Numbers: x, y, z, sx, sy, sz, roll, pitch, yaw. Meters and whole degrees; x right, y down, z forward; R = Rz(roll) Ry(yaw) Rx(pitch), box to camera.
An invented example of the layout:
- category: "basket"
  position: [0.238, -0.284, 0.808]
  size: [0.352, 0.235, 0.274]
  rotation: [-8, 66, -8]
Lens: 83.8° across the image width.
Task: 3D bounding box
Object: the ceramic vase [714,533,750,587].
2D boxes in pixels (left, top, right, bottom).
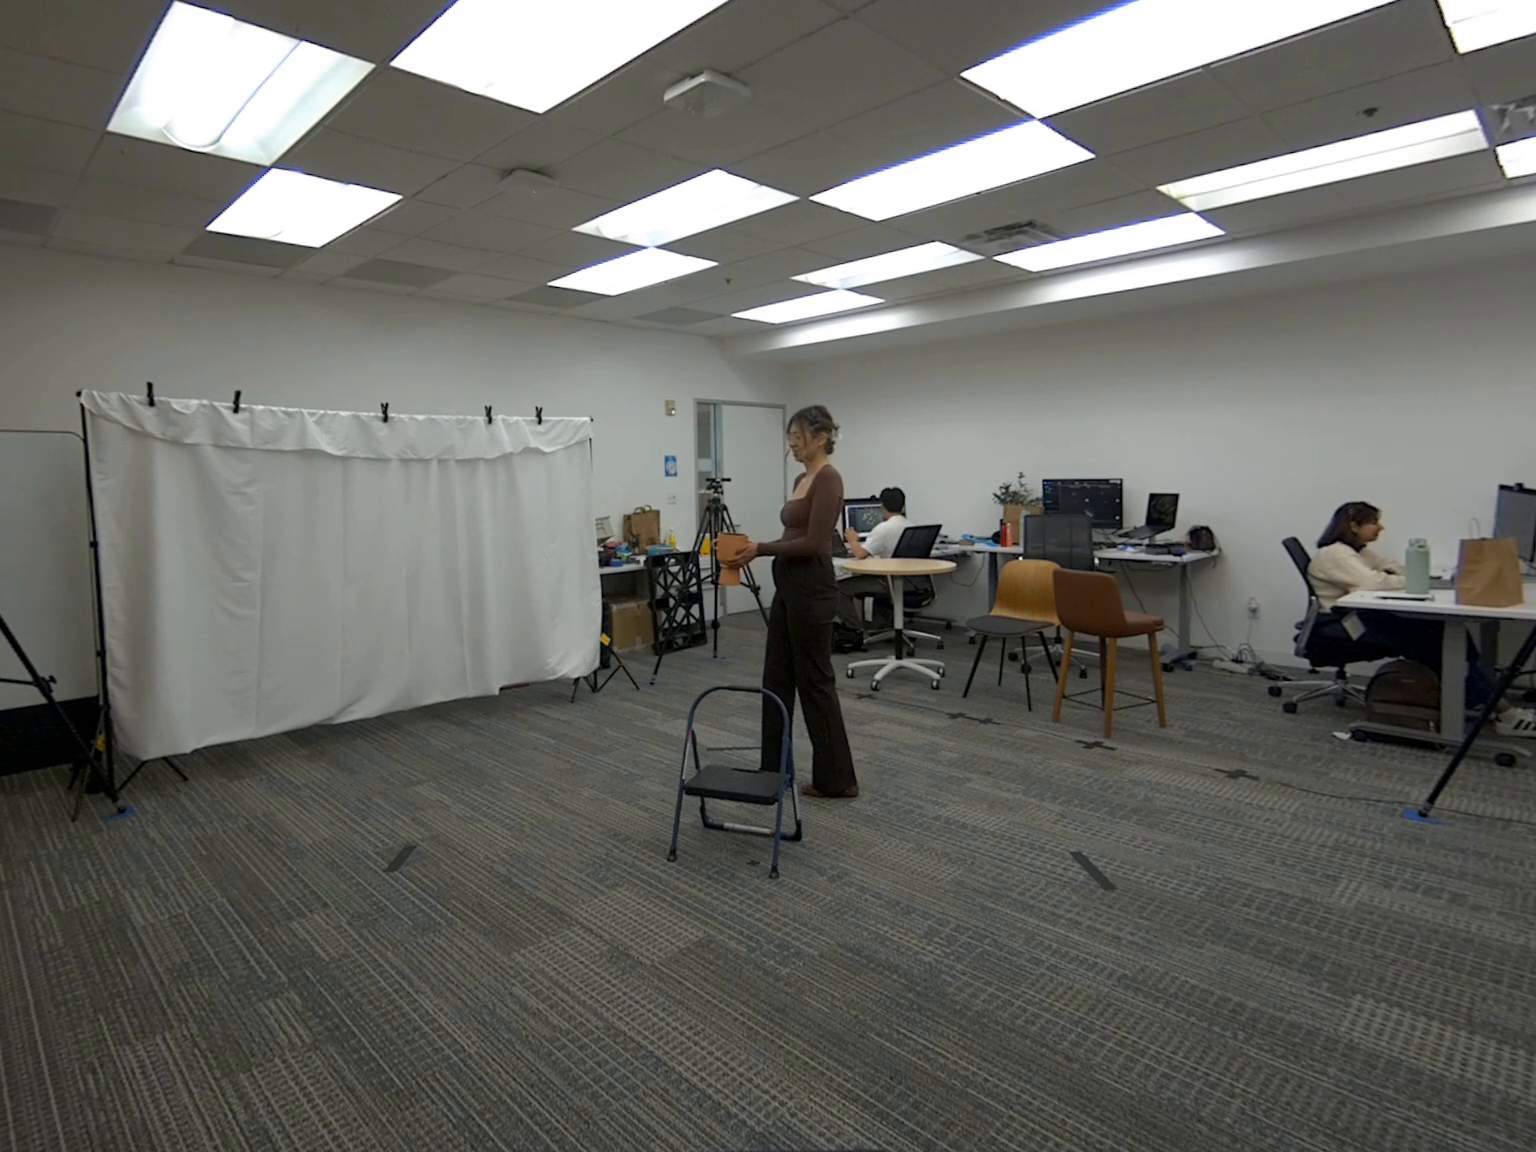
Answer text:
- category: "ceramic vase"
  position: [-0.157, -0.076, 3.757]
  size: [0.162, 0.219, 0.133]
  rotation: [5, 5, 17]
